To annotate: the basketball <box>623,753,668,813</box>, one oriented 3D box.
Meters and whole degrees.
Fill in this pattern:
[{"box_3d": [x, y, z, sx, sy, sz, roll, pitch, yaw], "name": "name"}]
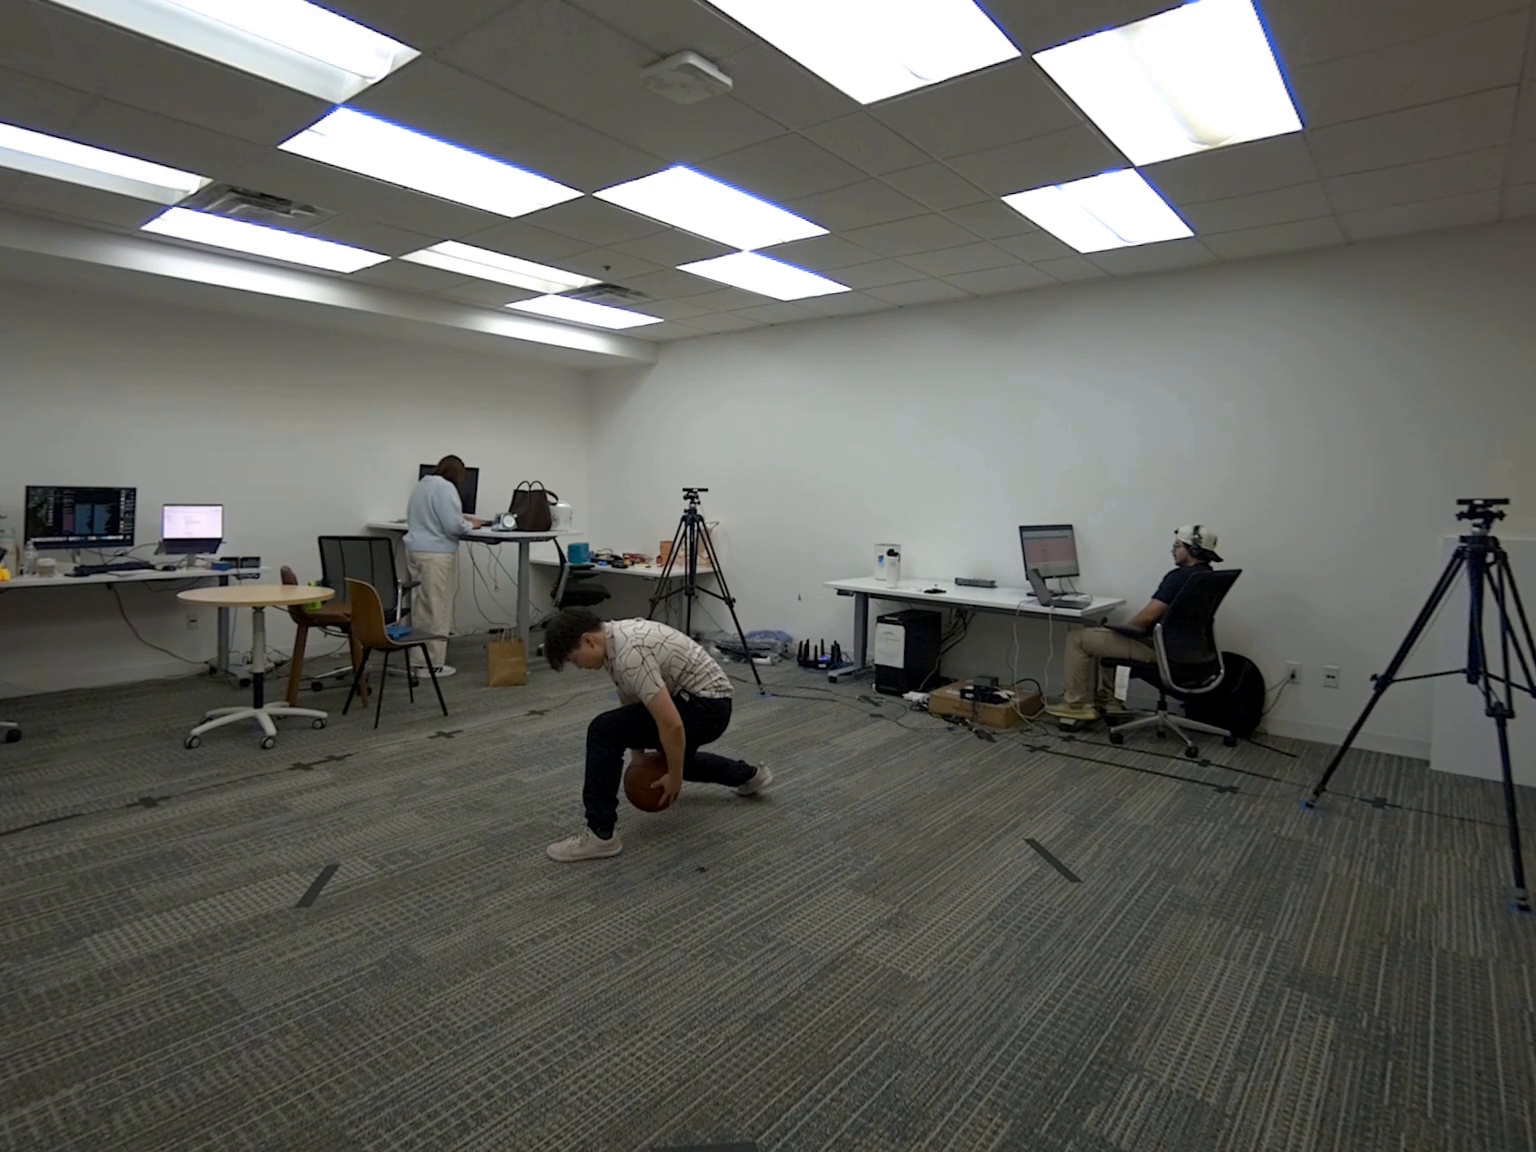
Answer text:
[{"box_3d": [-0.490, 0.820, 3.472, 0.235, 0.235, 0.237, 1, 4, -2], "name": "basketball"}]
